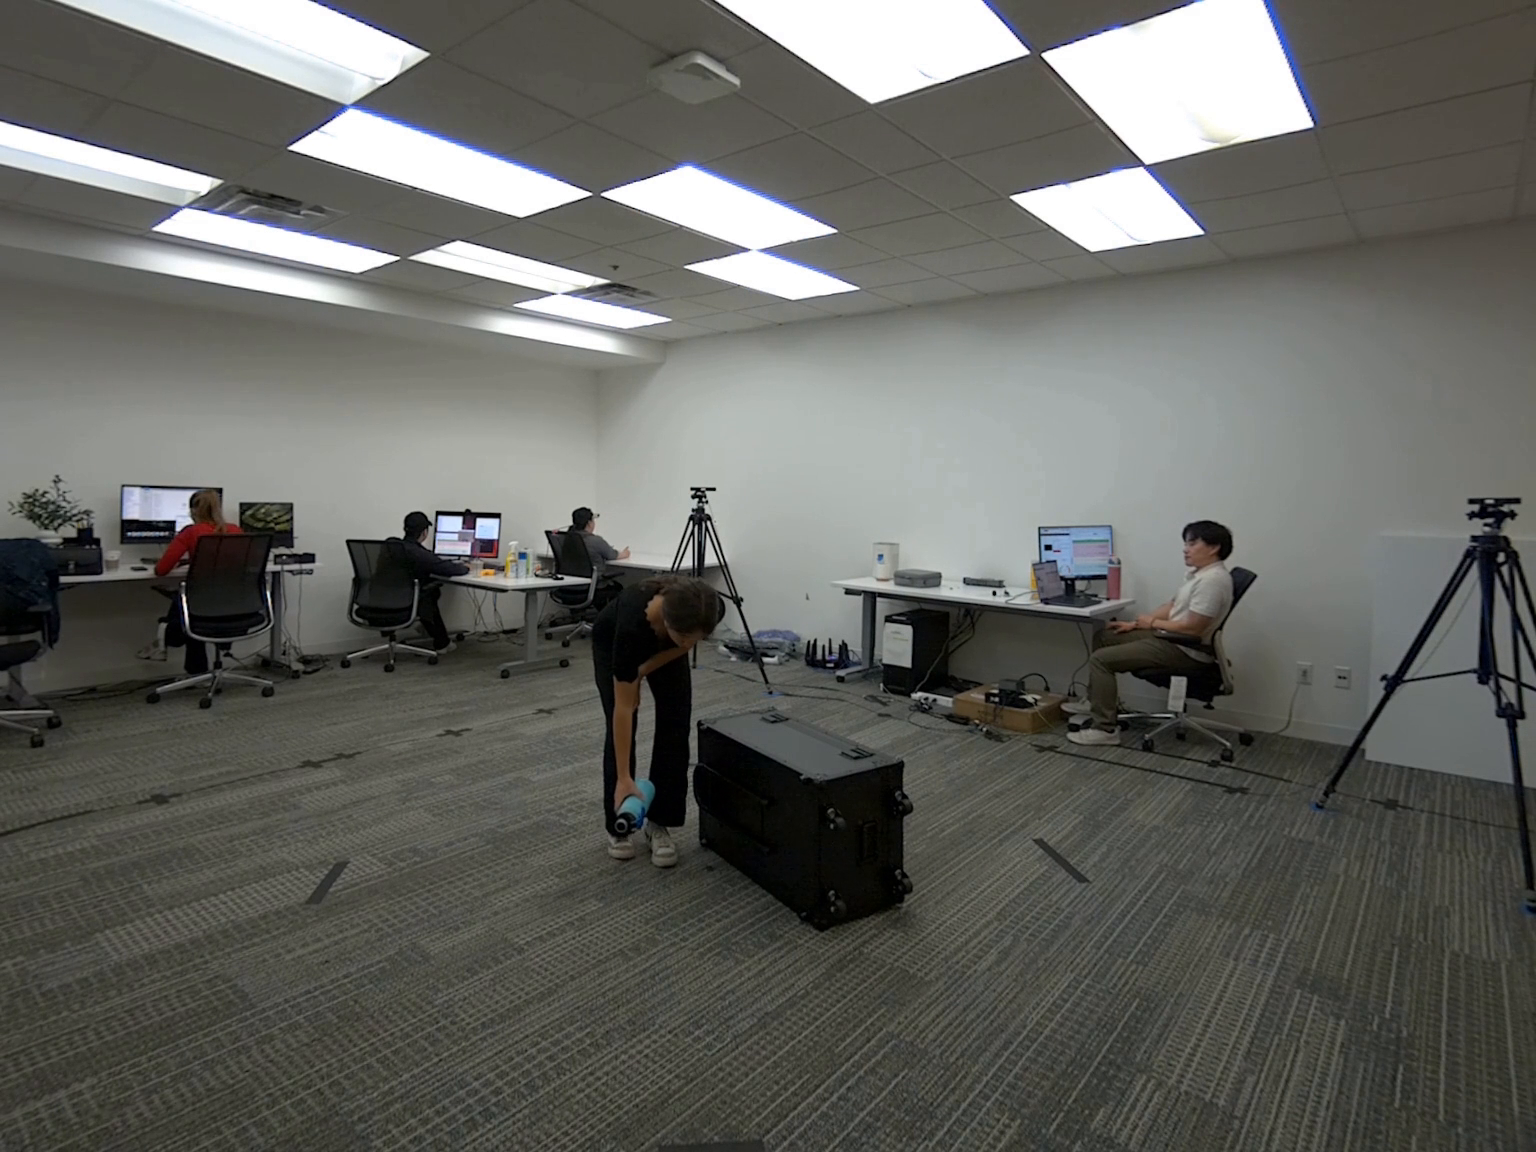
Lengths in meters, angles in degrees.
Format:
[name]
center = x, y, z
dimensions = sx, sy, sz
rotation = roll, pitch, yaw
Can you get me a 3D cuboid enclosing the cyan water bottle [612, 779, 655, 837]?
[cyan water bottle]
center = -0.476, 0.793, 2.952
dimensions = 0.093, 0.091, 0.284
rotation = 1, 10, 3
